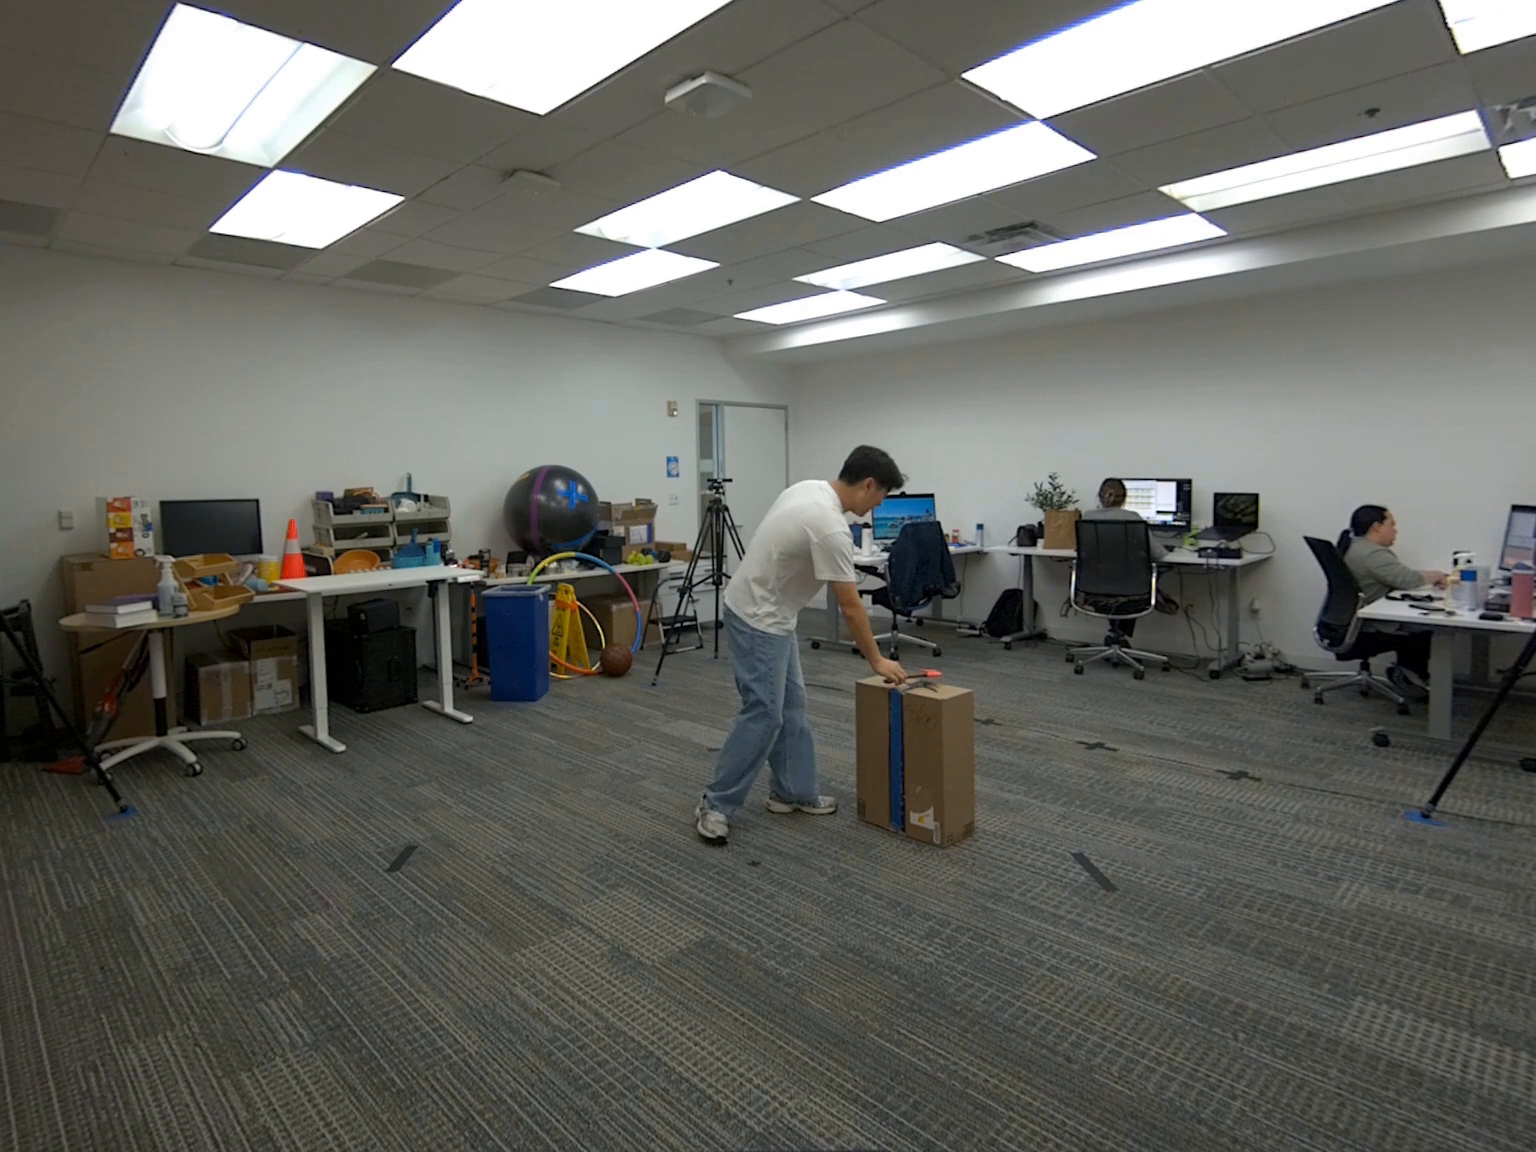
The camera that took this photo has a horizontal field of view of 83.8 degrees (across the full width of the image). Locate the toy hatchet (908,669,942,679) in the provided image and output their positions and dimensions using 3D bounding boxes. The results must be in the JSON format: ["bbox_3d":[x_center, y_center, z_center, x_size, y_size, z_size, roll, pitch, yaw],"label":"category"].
[{"bbox_3d":[0.567,0.393,3.360,0.135,0.029,0.263,-2,4,43],"label":"toy hatchet"}]
